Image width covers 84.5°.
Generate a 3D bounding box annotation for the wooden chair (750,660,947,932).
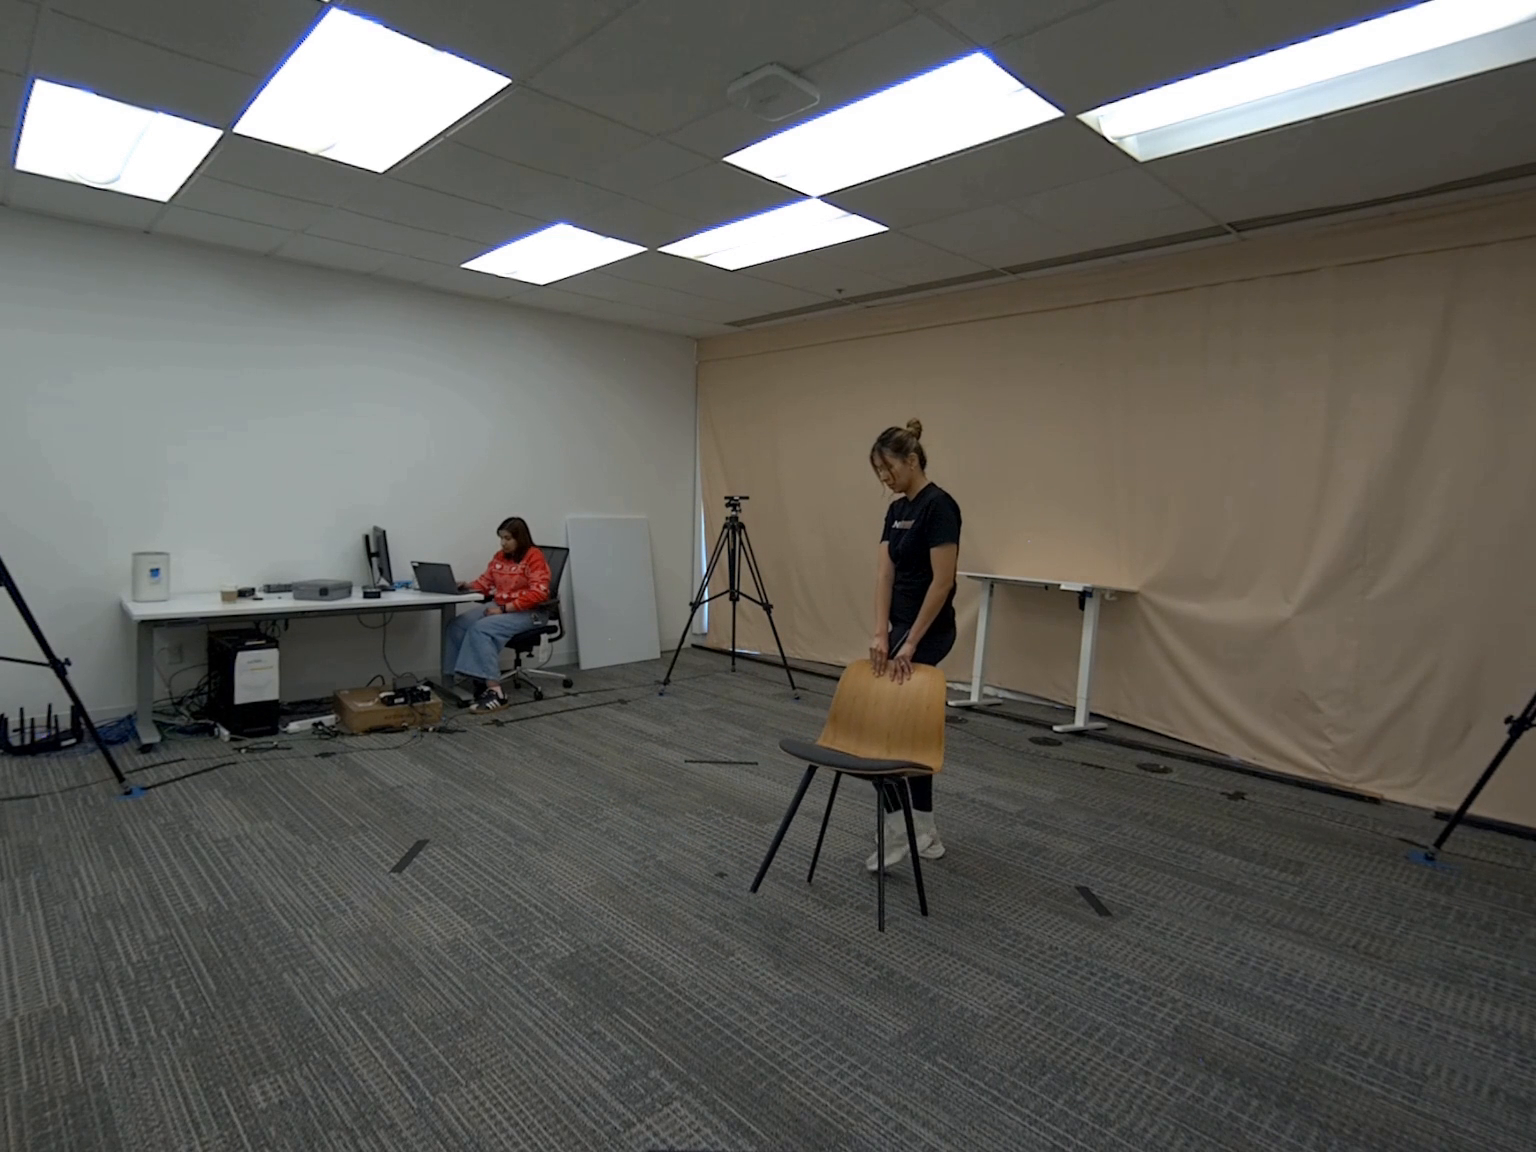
[{"bbox_3d":[0.301,0.664,2.825,0.489,0.884,0.507,4,-16,30],"label":"wooden chair"}]
